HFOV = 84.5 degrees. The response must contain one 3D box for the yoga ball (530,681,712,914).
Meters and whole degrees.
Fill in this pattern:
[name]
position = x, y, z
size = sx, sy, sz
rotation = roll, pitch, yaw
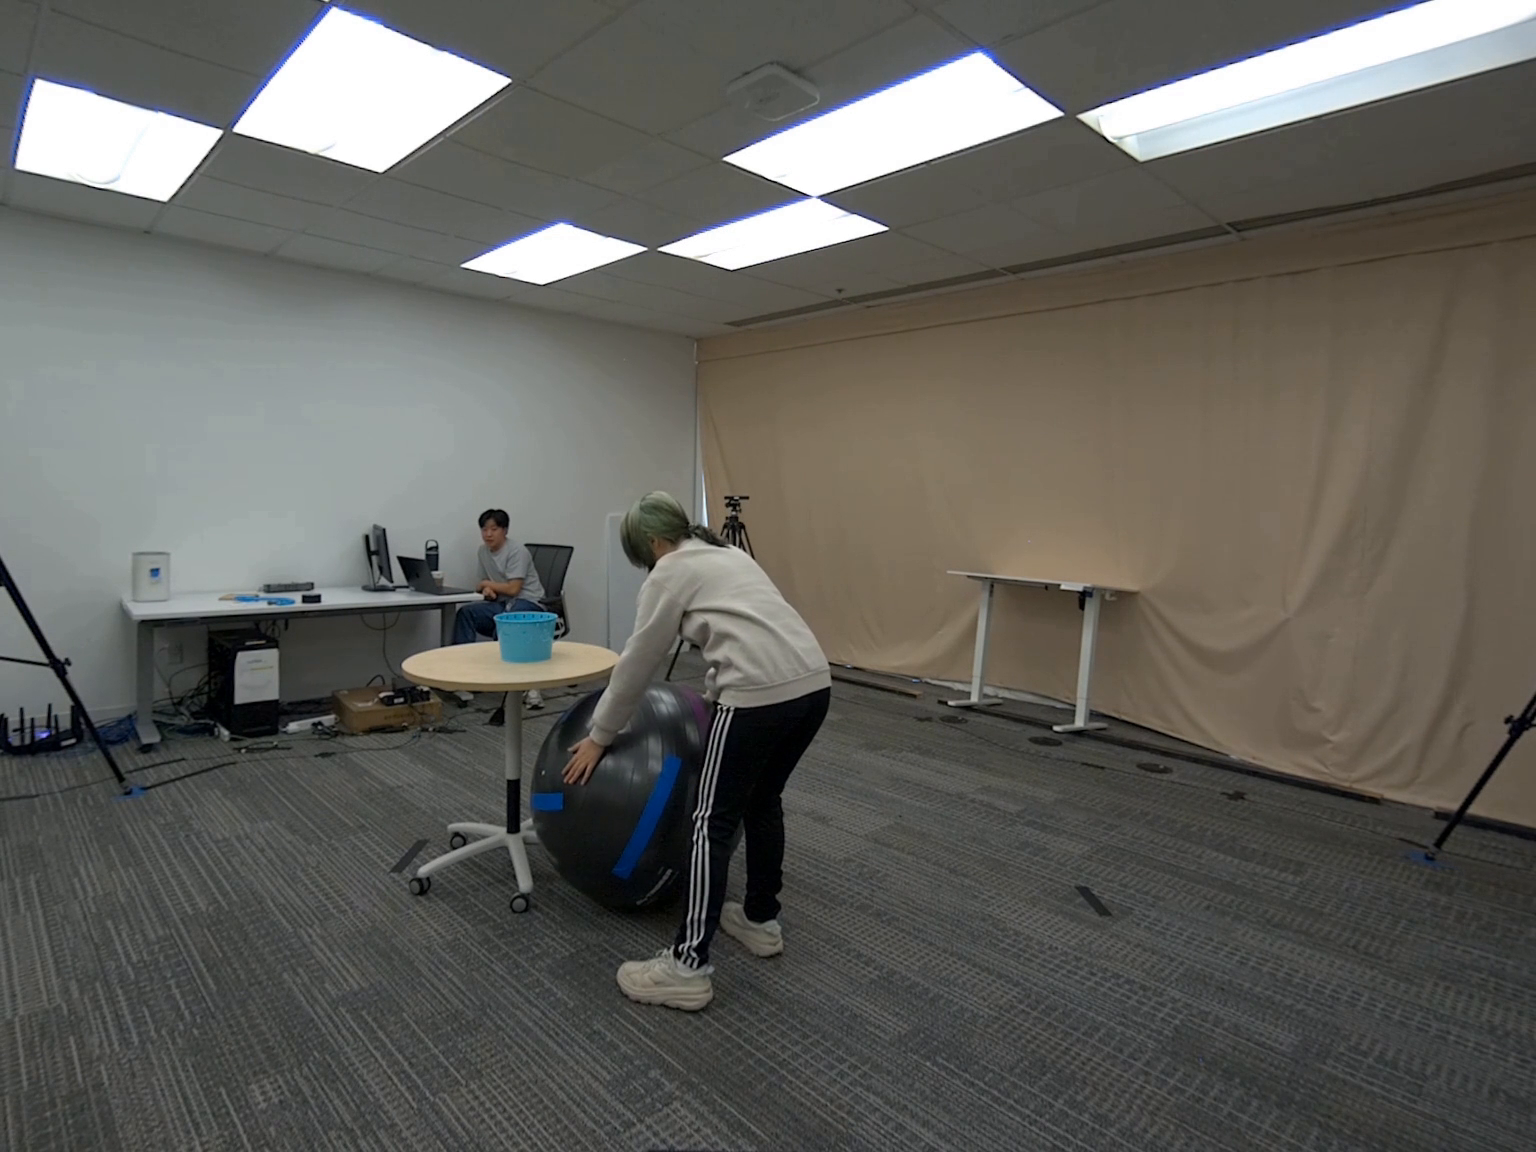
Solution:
[yoga ball]
position = -0.438, 0.747, 2.907
size = 0.757, 0.756, 0.761
rotation = 1, 4, -1
